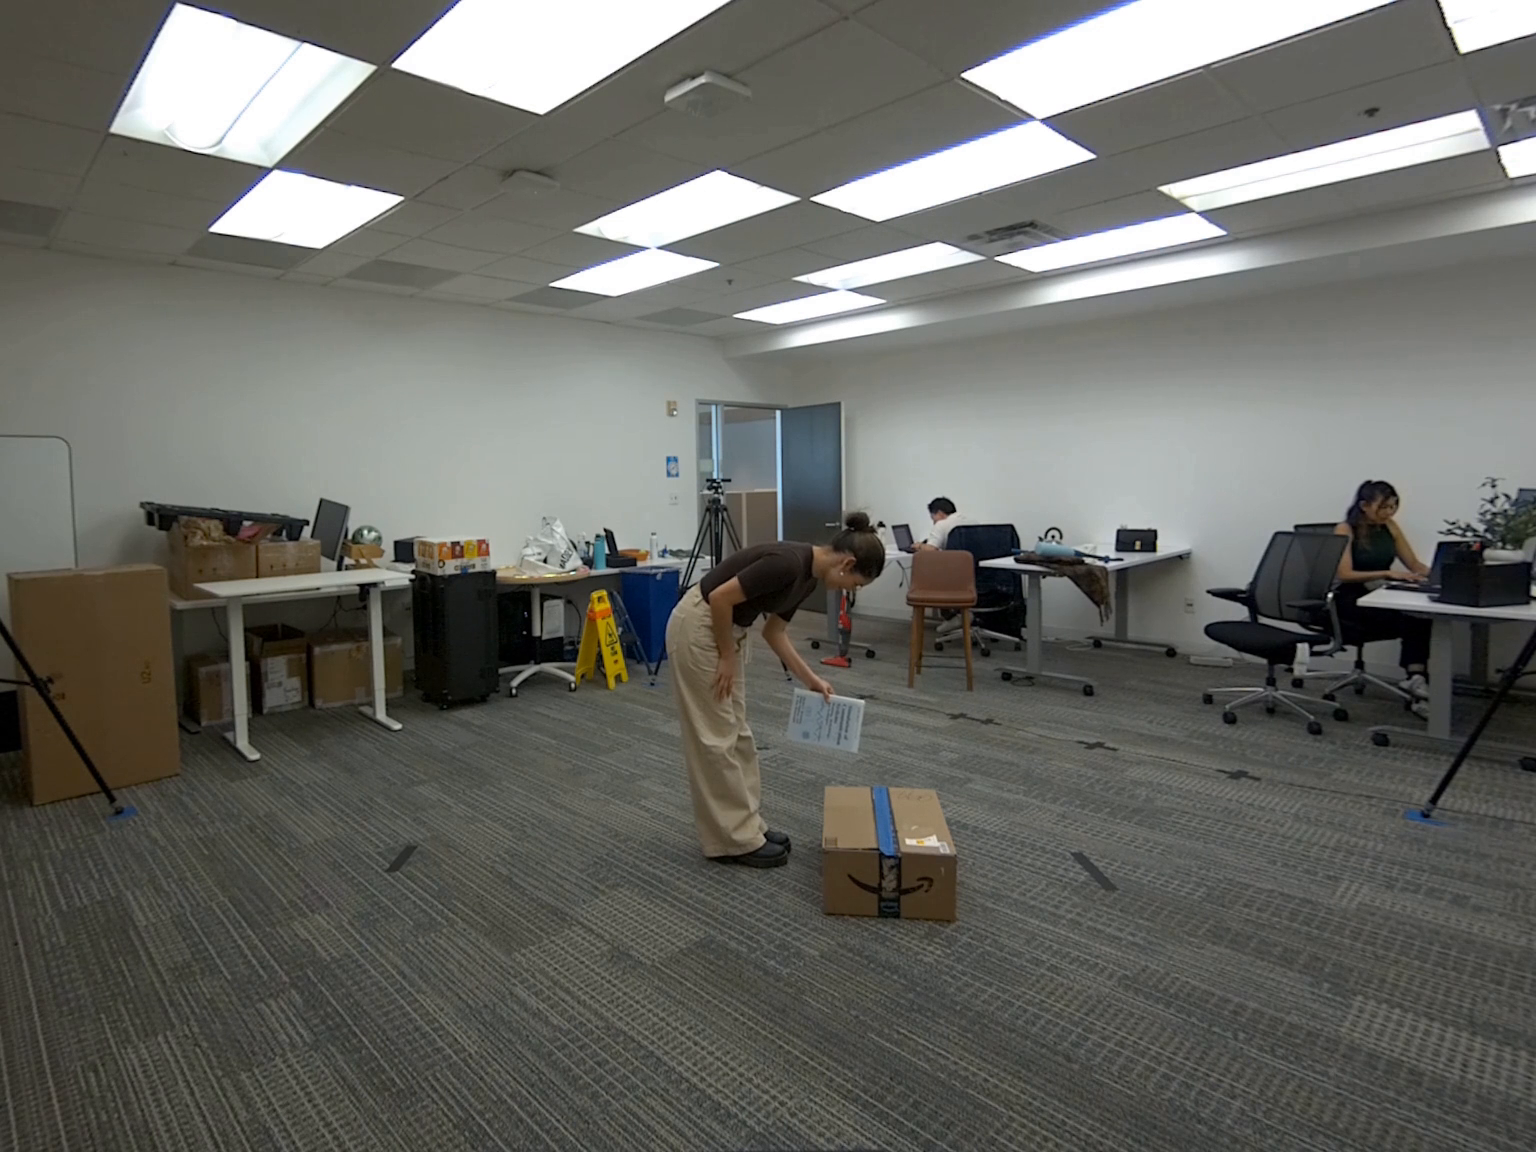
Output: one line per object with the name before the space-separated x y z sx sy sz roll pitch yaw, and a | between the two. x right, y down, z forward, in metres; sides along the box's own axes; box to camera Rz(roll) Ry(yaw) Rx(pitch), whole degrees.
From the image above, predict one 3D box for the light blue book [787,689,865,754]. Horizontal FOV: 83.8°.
light blue book | 0.207 0.533 3.144 0.263 0.192 0.058 6 -8 7
